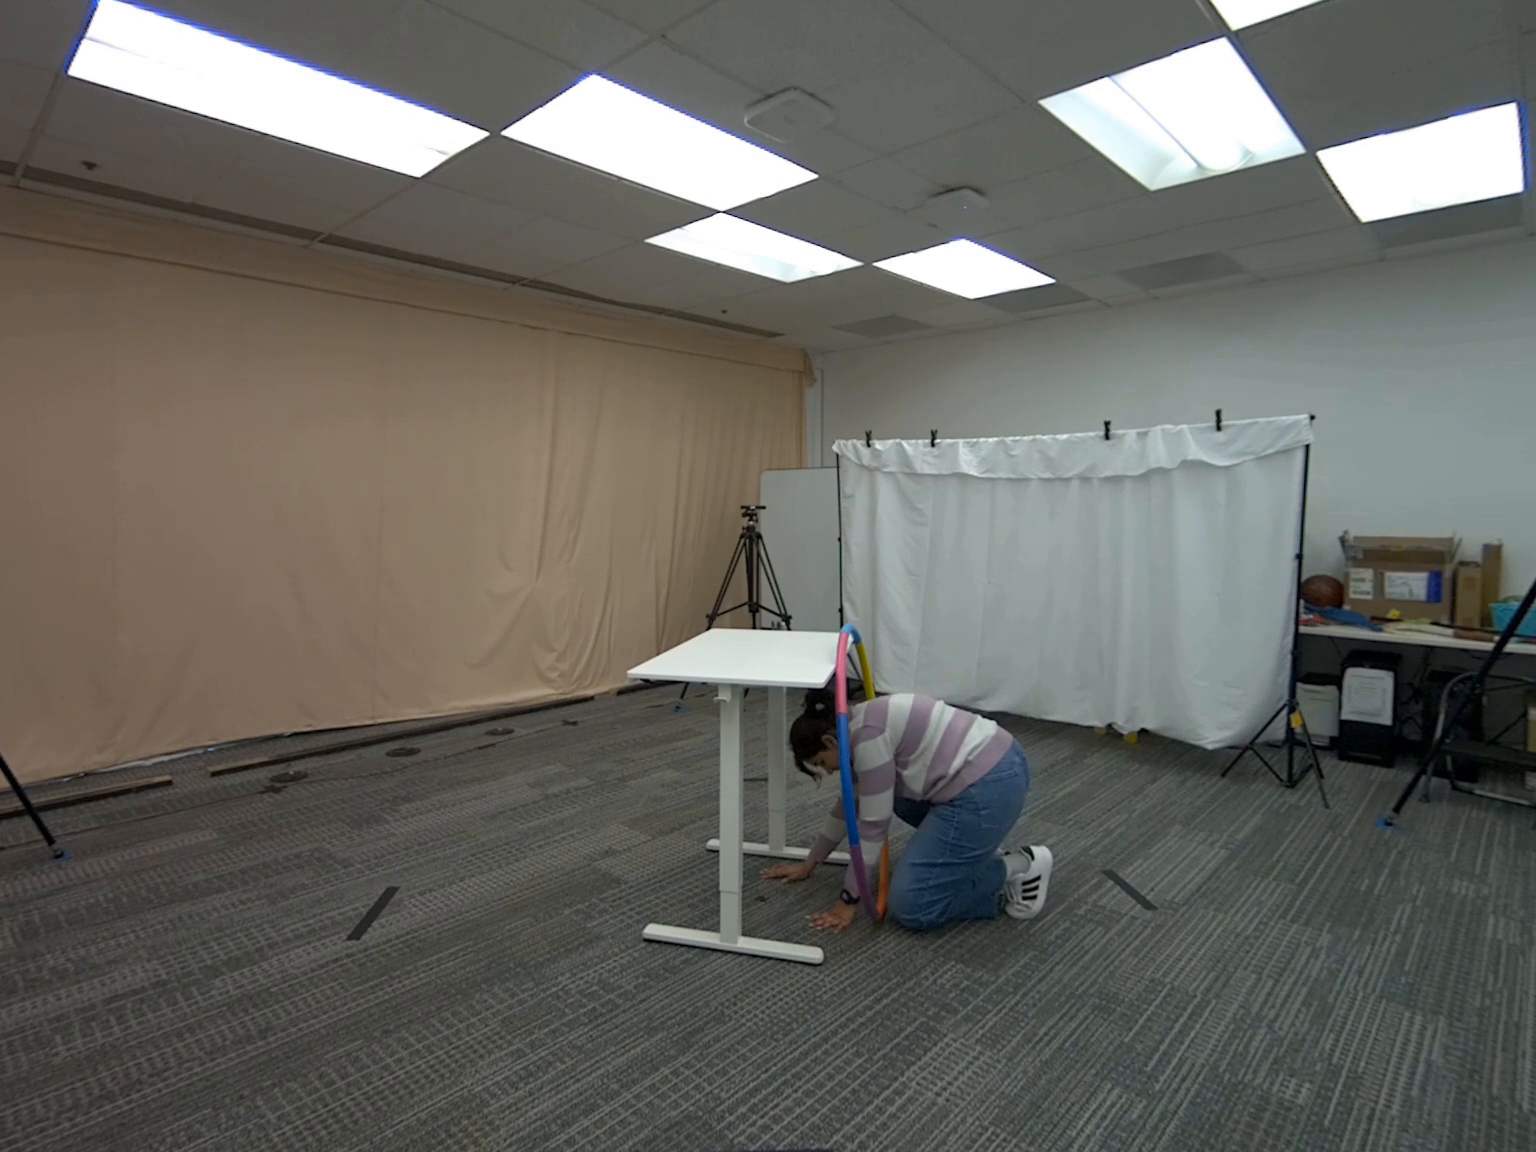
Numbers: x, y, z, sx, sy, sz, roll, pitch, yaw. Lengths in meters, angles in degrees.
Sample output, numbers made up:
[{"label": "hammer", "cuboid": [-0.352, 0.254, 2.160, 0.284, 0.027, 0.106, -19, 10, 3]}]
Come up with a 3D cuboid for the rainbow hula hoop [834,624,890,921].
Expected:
[{"label": "rainbow hula hoop", "cuboid": [0.343, 0.663, 2.925, 0.036, 0.977, 0.966, -7, 2, 12]}]
